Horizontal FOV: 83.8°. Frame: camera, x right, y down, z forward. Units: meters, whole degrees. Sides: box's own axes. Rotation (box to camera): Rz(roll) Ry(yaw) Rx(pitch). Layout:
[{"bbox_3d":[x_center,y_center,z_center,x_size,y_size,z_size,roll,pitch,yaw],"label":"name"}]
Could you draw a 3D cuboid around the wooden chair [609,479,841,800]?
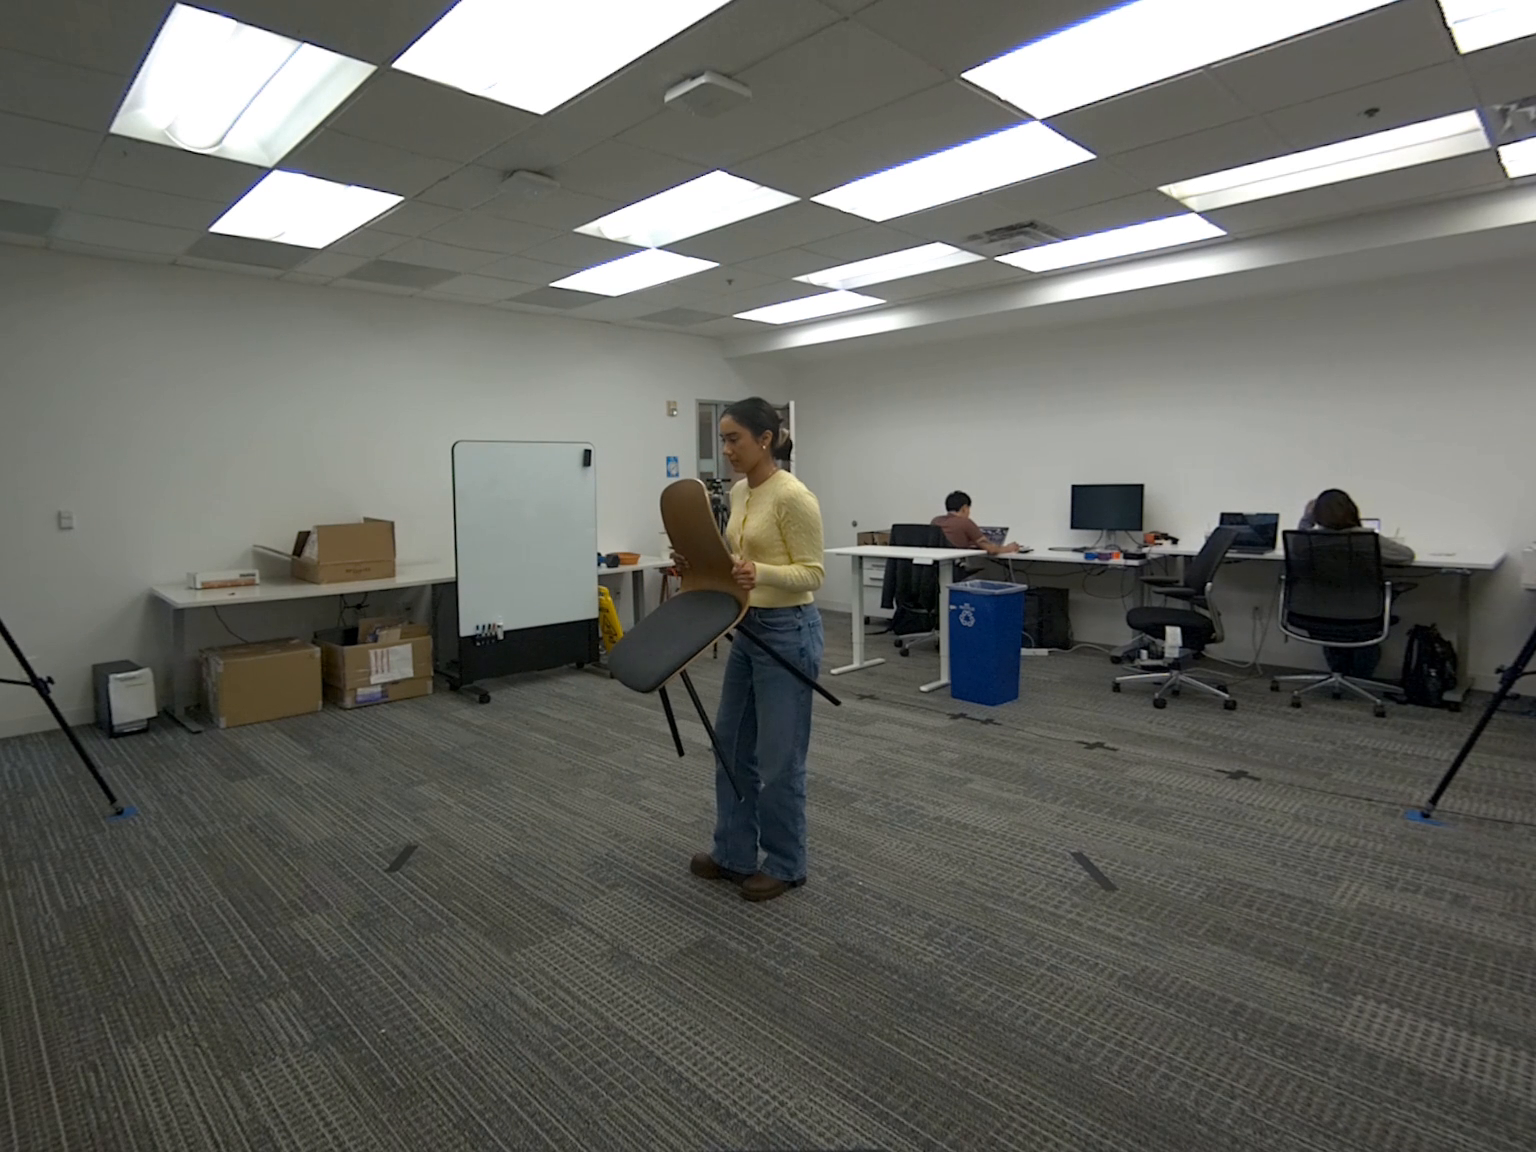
[{"bbox_3d":[-0.252,0.195,2.736,0.520,0.858,0.492,-34,21,-22],"label":"wooden chair"}]
